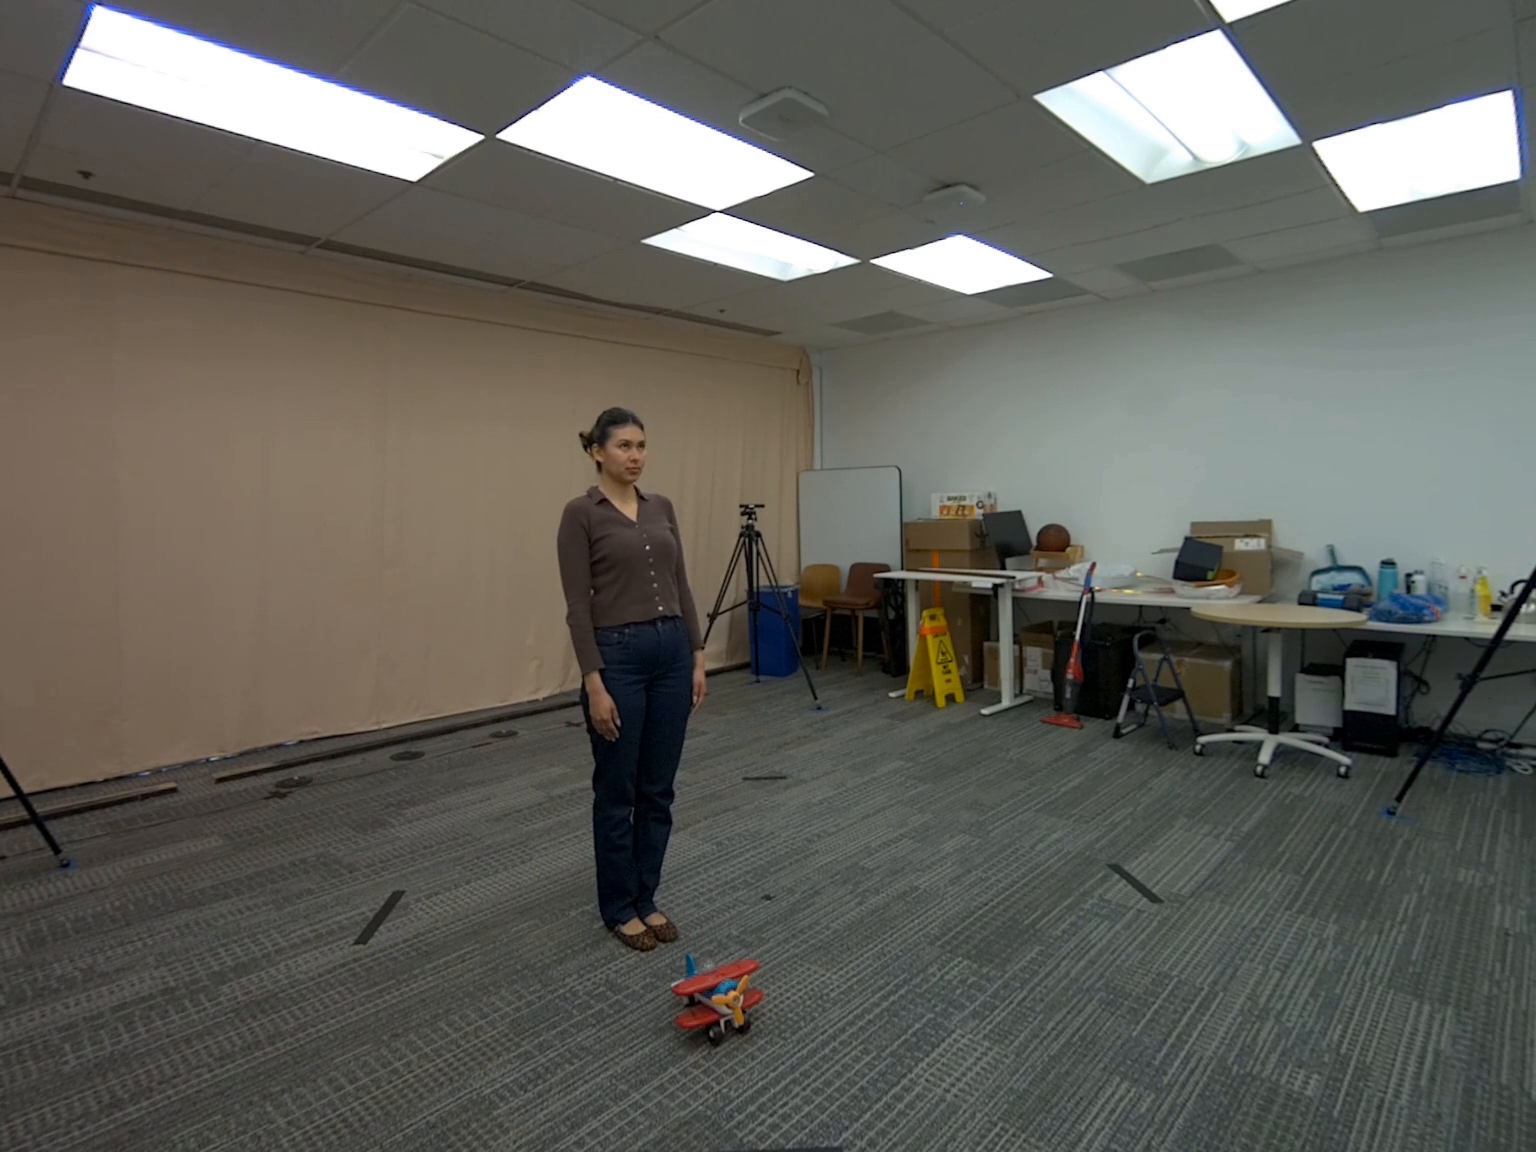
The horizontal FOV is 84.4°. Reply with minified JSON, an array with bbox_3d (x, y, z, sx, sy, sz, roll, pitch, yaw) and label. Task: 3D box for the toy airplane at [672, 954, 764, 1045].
[{"bbox_3d":[-0.163,1.131,2.258,0.267,0.156,0.245,2,6,29],"label":"toy airplane"}]
